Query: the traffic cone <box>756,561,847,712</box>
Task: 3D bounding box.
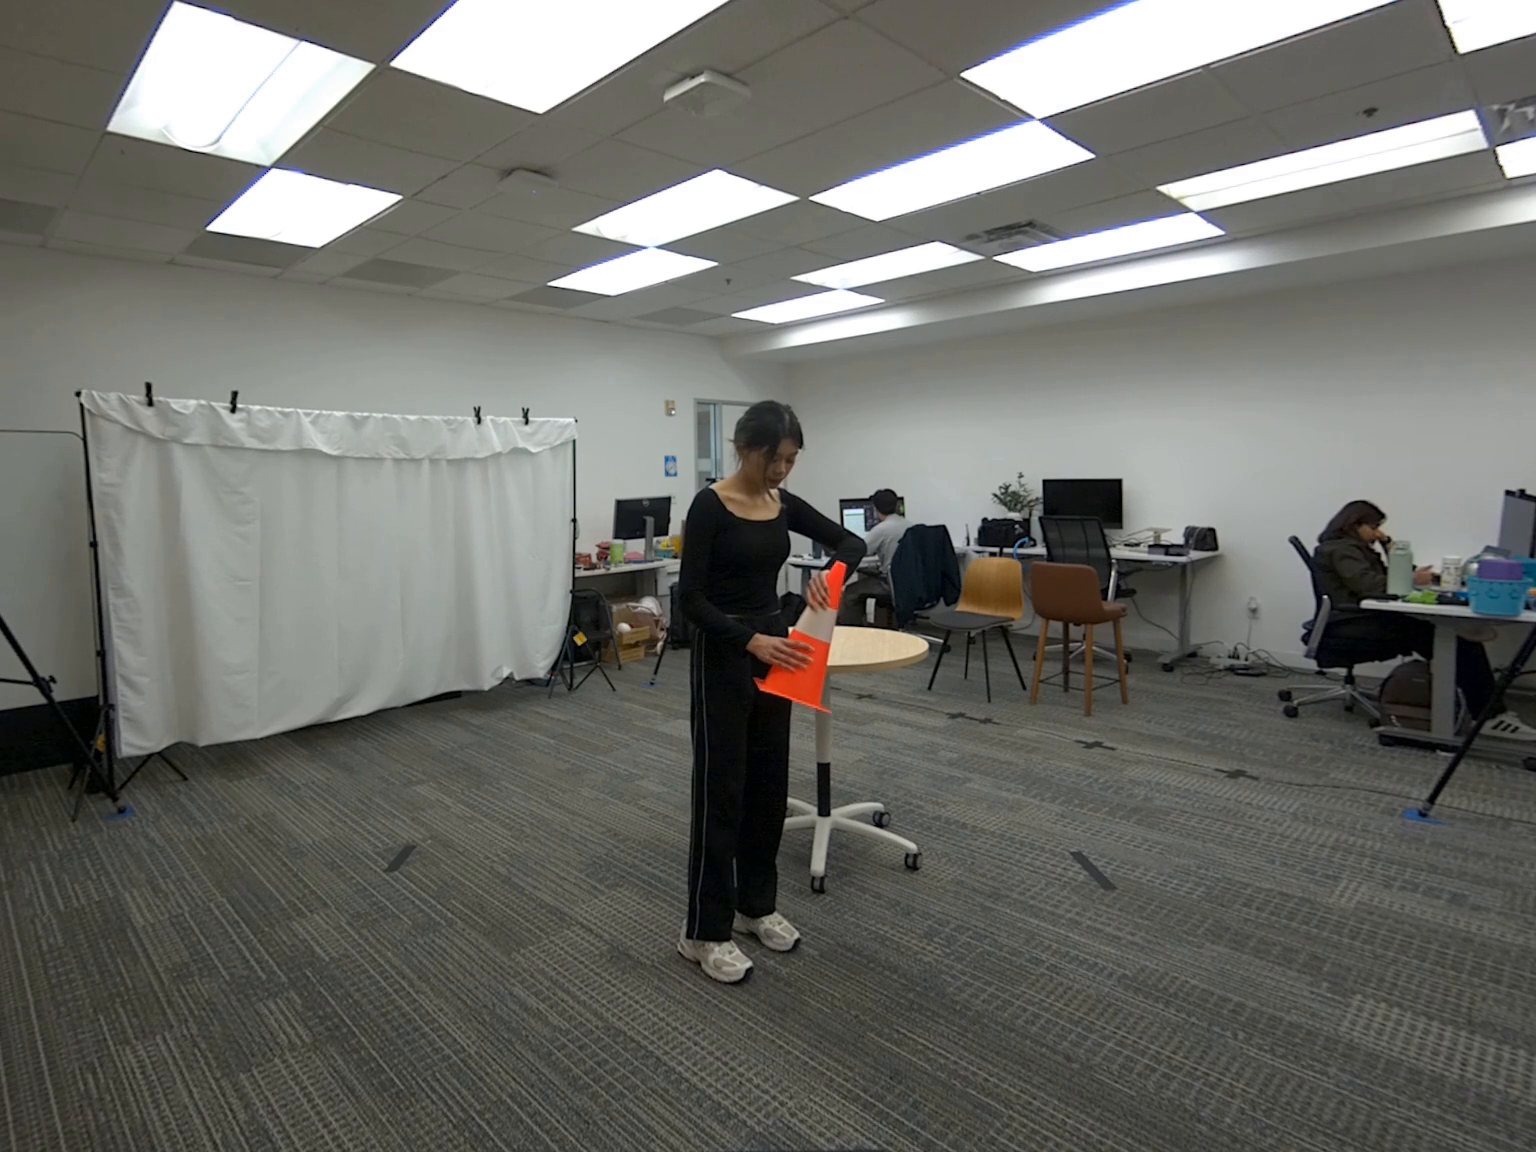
[{"bbox_3d":[0.129,0.145,2.299,0.204,0.384,0.204,20,-2,0],"label":"traffic cone"}]
